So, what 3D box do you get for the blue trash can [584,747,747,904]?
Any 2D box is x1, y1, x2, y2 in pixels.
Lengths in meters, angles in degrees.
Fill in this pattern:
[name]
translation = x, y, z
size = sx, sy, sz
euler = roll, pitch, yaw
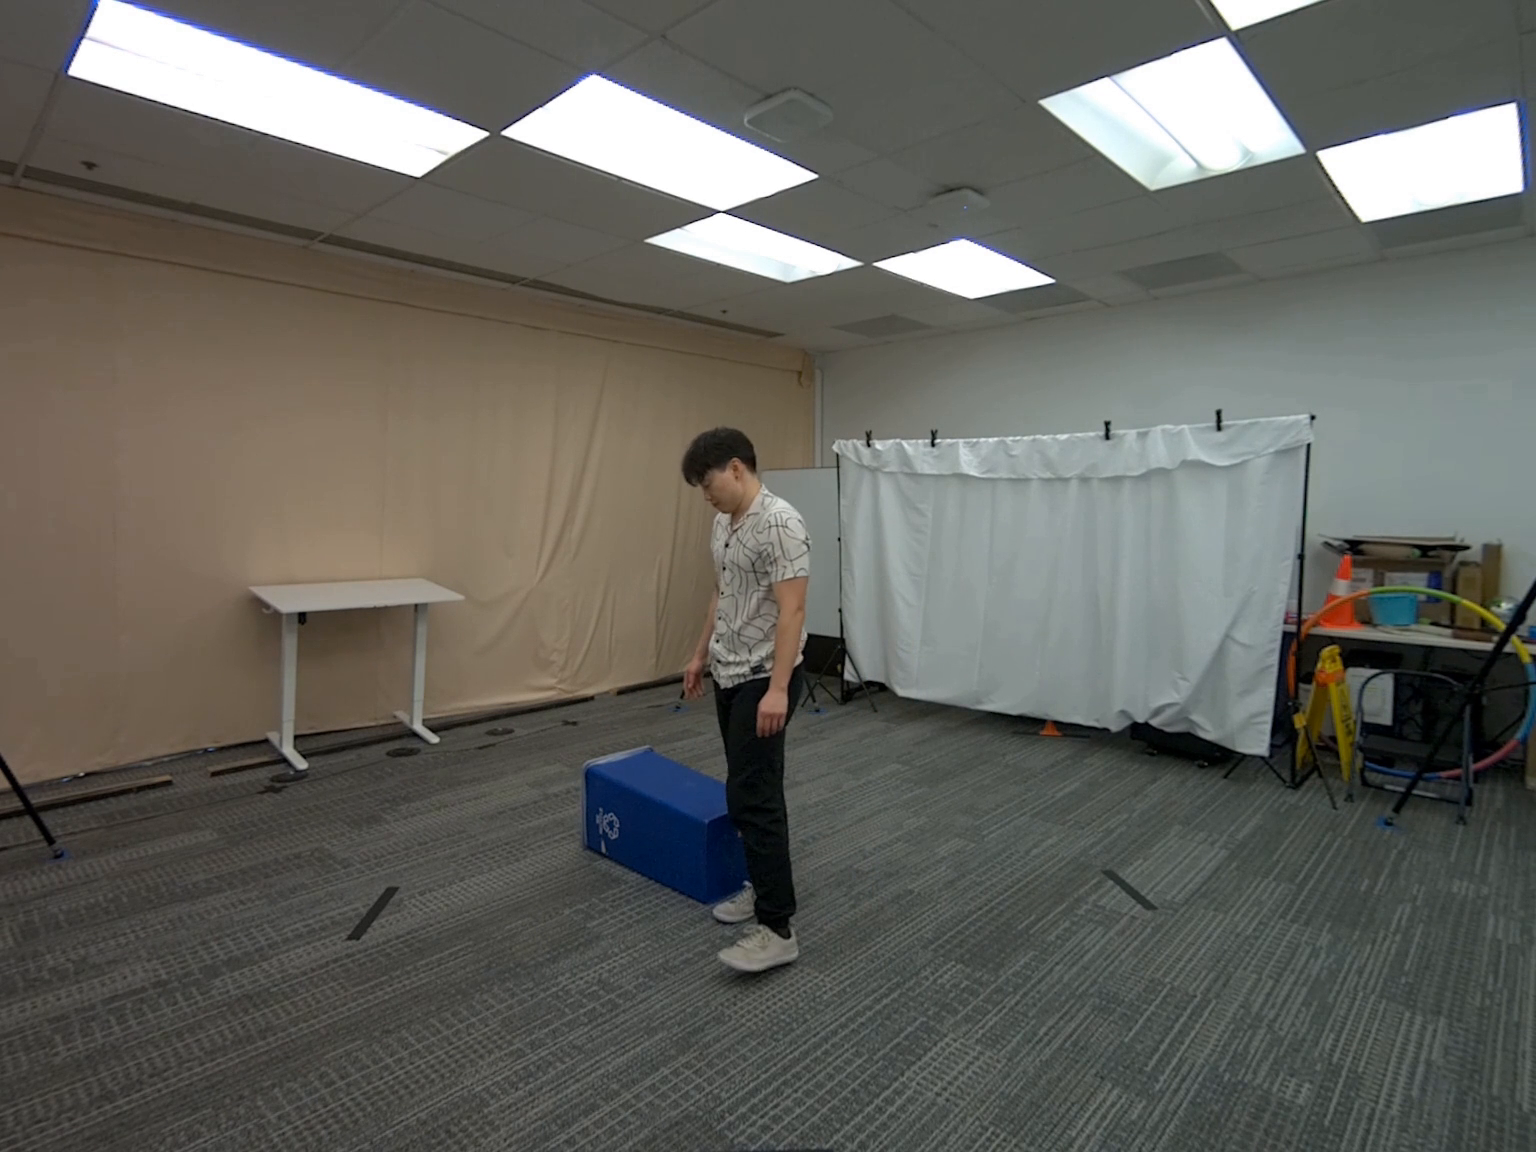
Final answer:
[blue trash can]
translation = -0.370, 0.950, 3.271
size = 0.362, 0.377, 0.738
euler = -3, 7, -45
